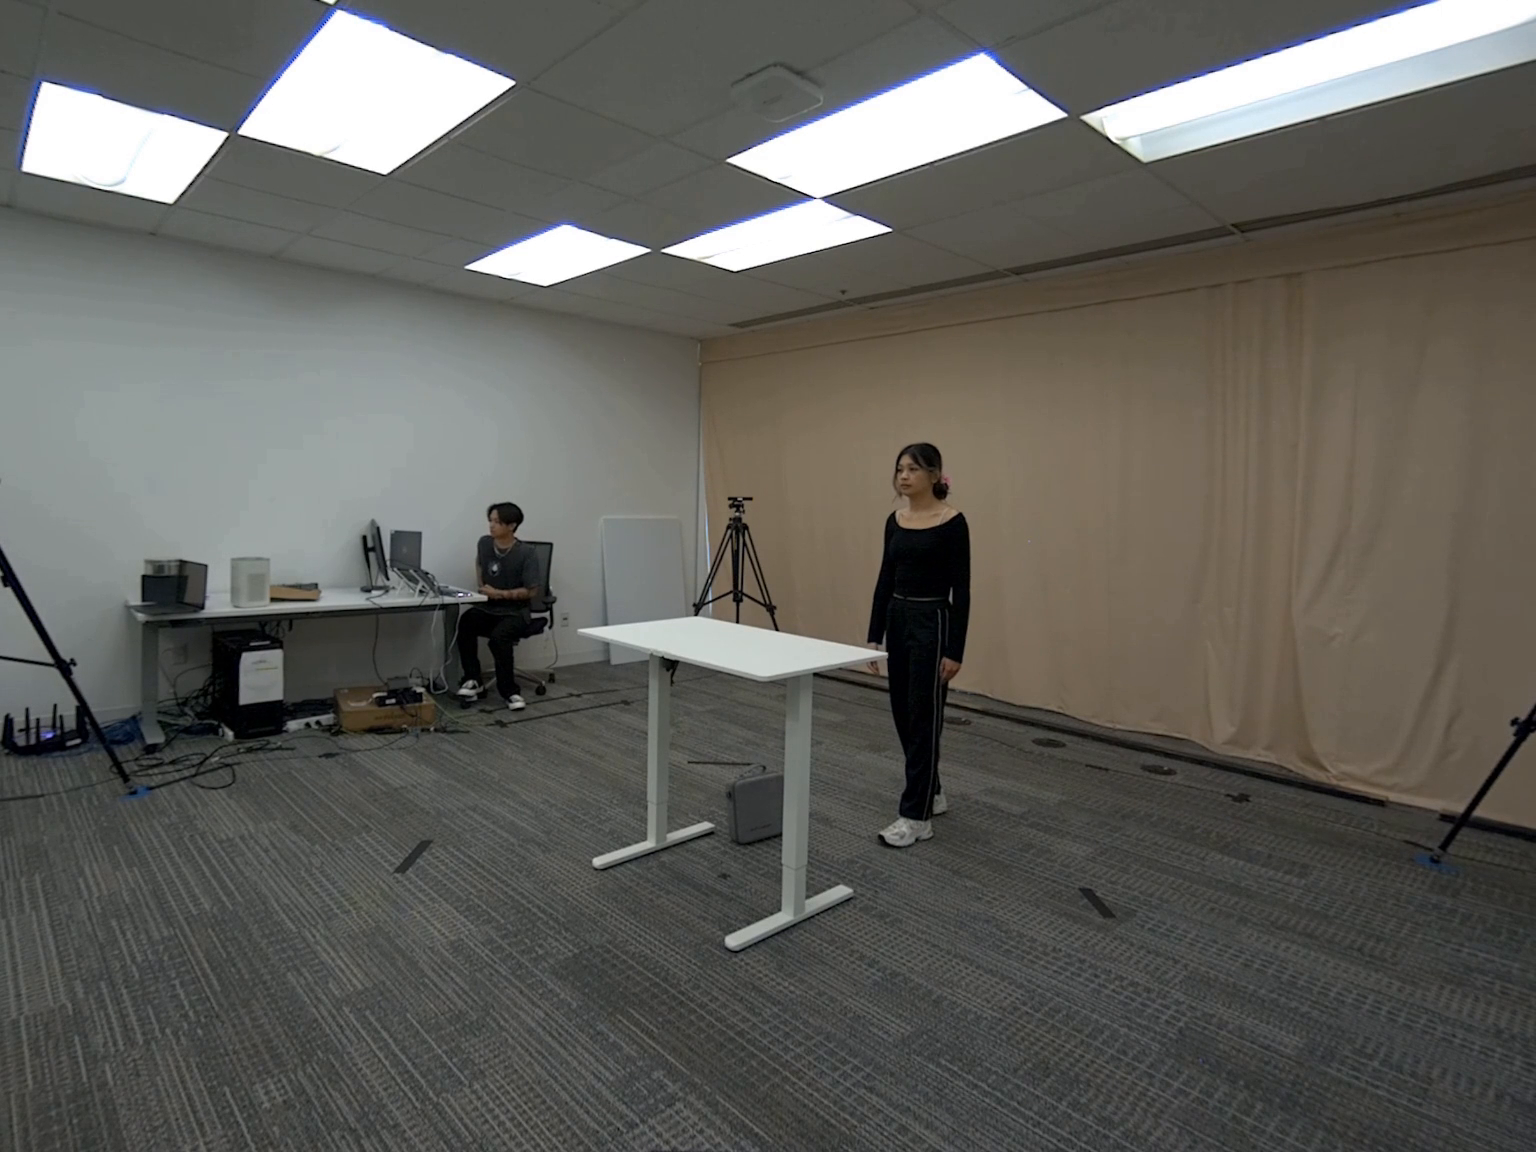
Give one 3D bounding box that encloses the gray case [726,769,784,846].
[{"bbox_3d":[-0.054,0.945,3.478,0.251,0.262,0.106,-2,-6,-34],"label":"gray case"}]
